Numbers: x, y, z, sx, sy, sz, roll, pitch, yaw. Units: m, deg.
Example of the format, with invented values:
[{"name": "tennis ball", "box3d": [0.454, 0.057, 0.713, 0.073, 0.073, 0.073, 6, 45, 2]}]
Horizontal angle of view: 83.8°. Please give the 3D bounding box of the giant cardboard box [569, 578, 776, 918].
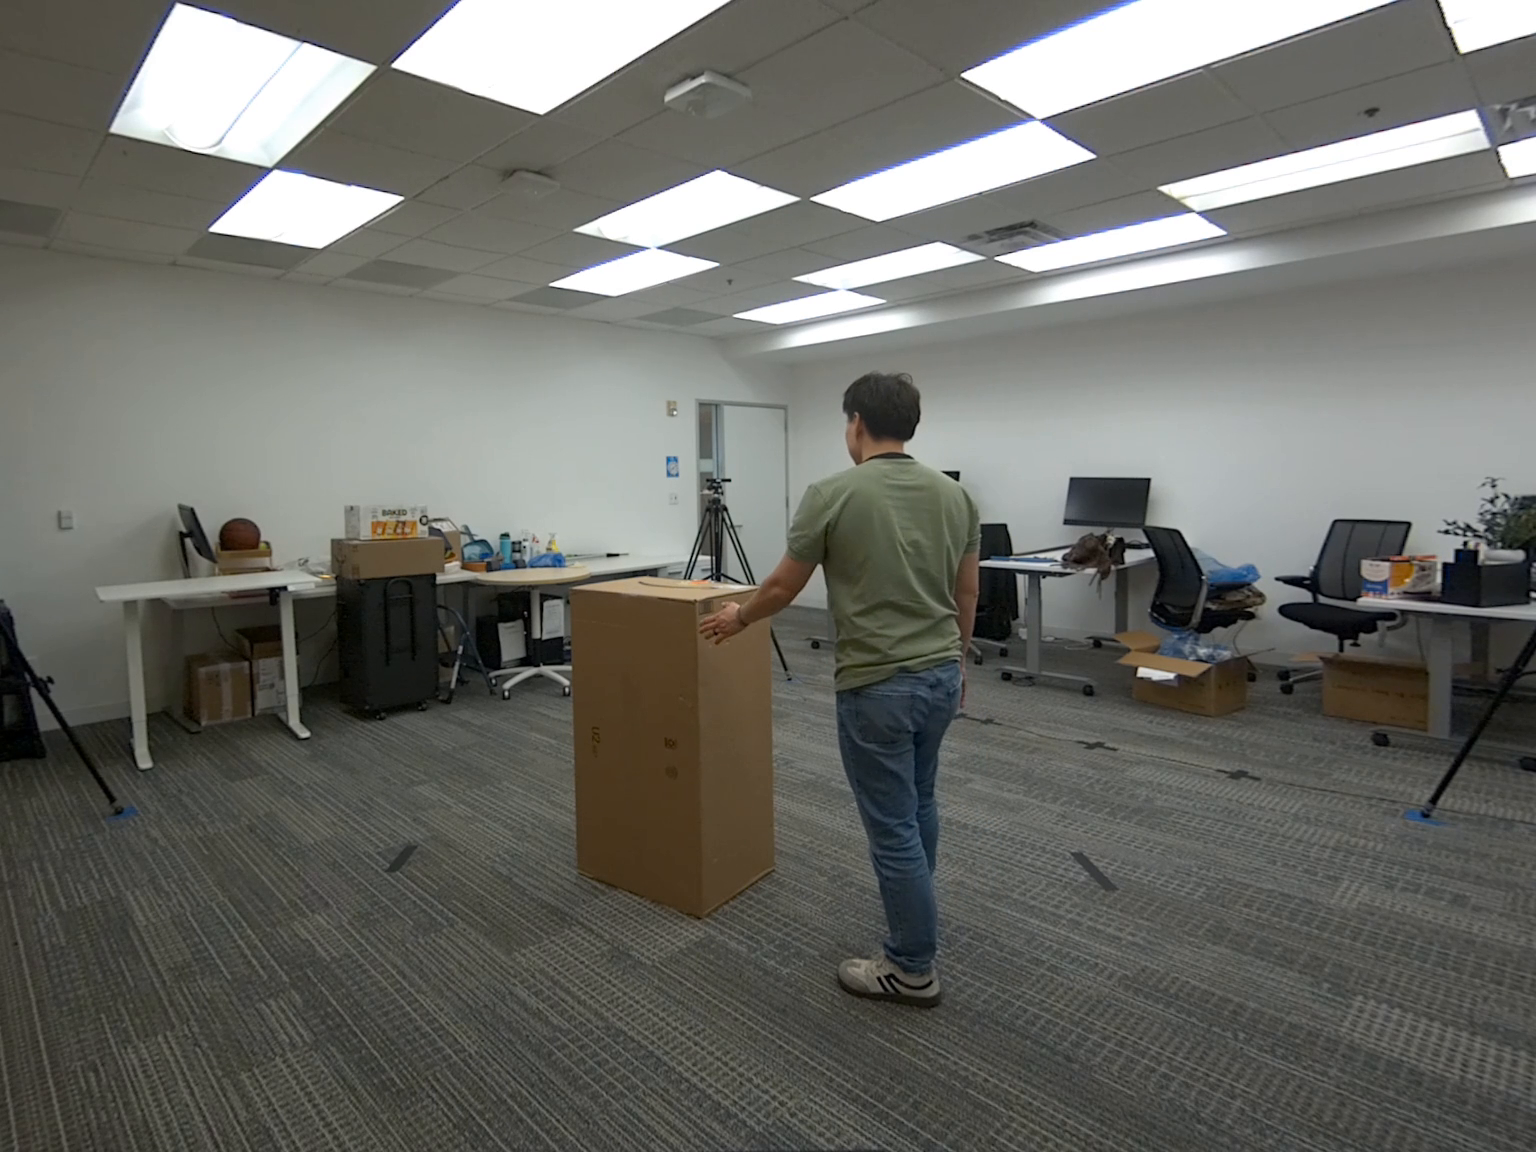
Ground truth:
[{"name": "giant cardboard box", "box3d": [-0.336, 0.548, 3.024, 0.594, 1.022, 0.415, 2, 5, 36]}]
